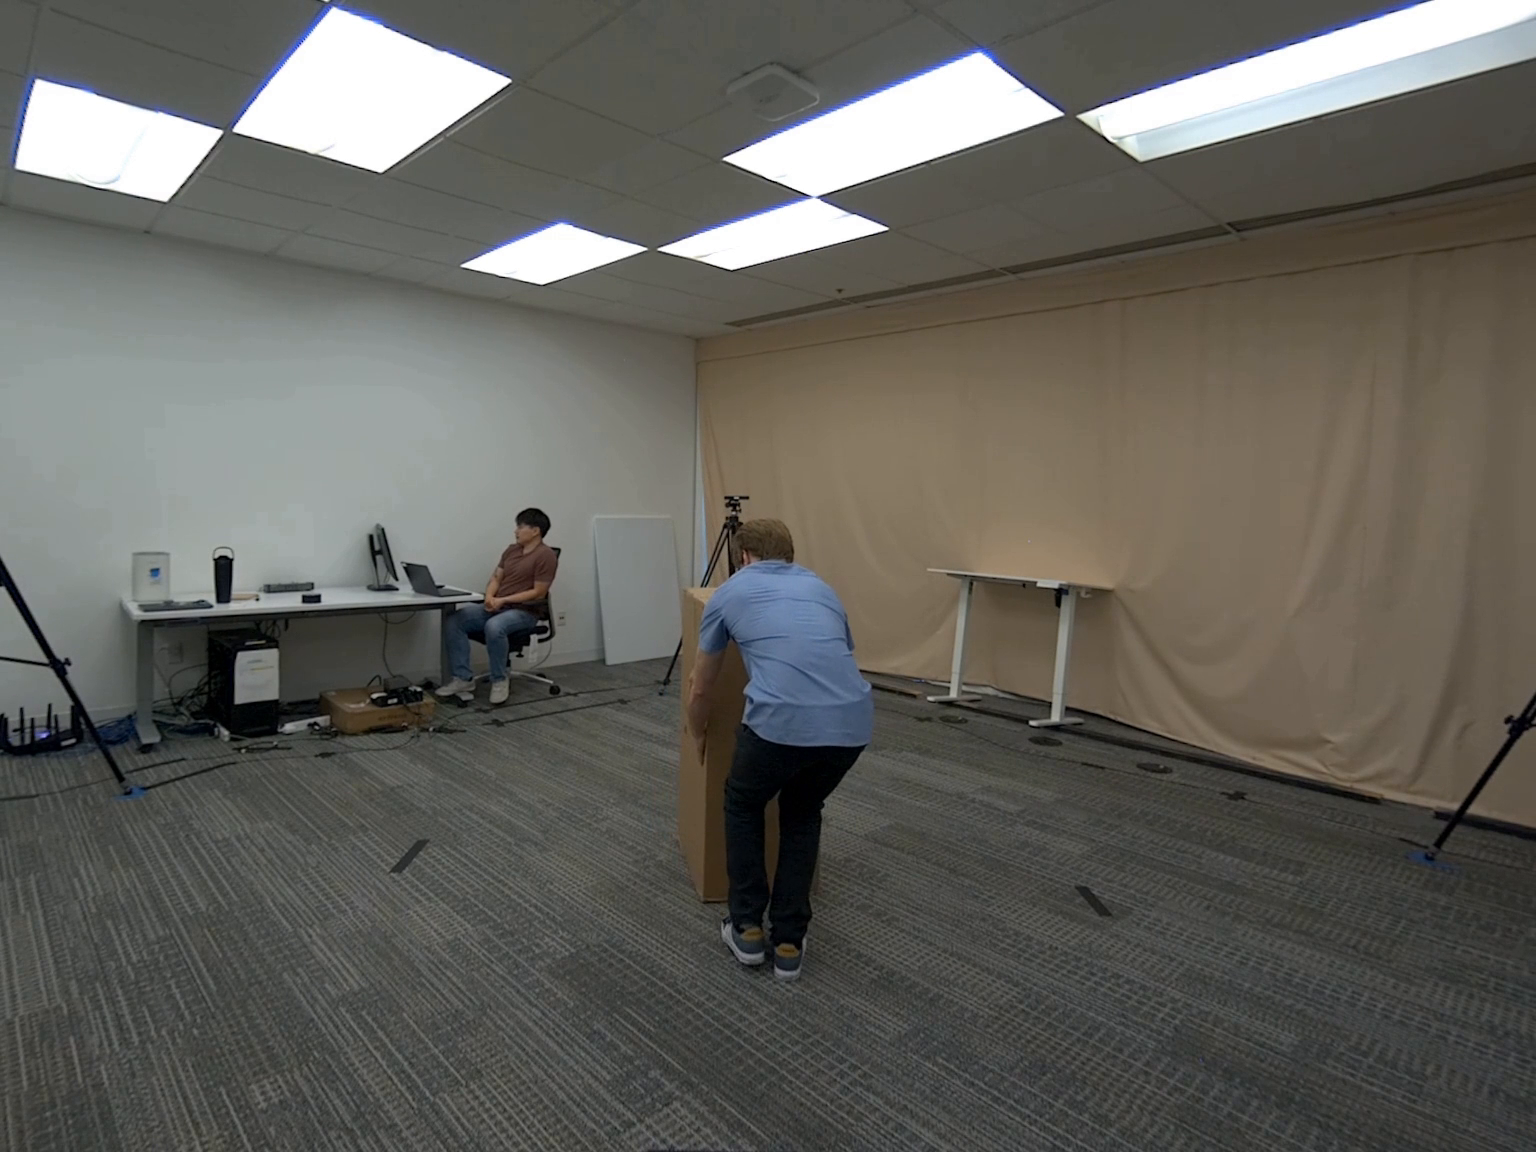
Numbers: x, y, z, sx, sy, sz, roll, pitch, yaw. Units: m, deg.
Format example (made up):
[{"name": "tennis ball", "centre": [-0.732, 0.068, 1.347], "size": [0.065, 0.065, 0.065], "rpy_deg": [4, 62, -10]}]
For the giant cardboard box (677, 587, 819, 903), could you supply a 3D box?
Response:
[{"name": "giant cardboard box", "centre": [-0.084, 0.591, 3.176], "size": [0.421, 1.023, 0.585], "rpy_deg": [1, 3, -14]}]
